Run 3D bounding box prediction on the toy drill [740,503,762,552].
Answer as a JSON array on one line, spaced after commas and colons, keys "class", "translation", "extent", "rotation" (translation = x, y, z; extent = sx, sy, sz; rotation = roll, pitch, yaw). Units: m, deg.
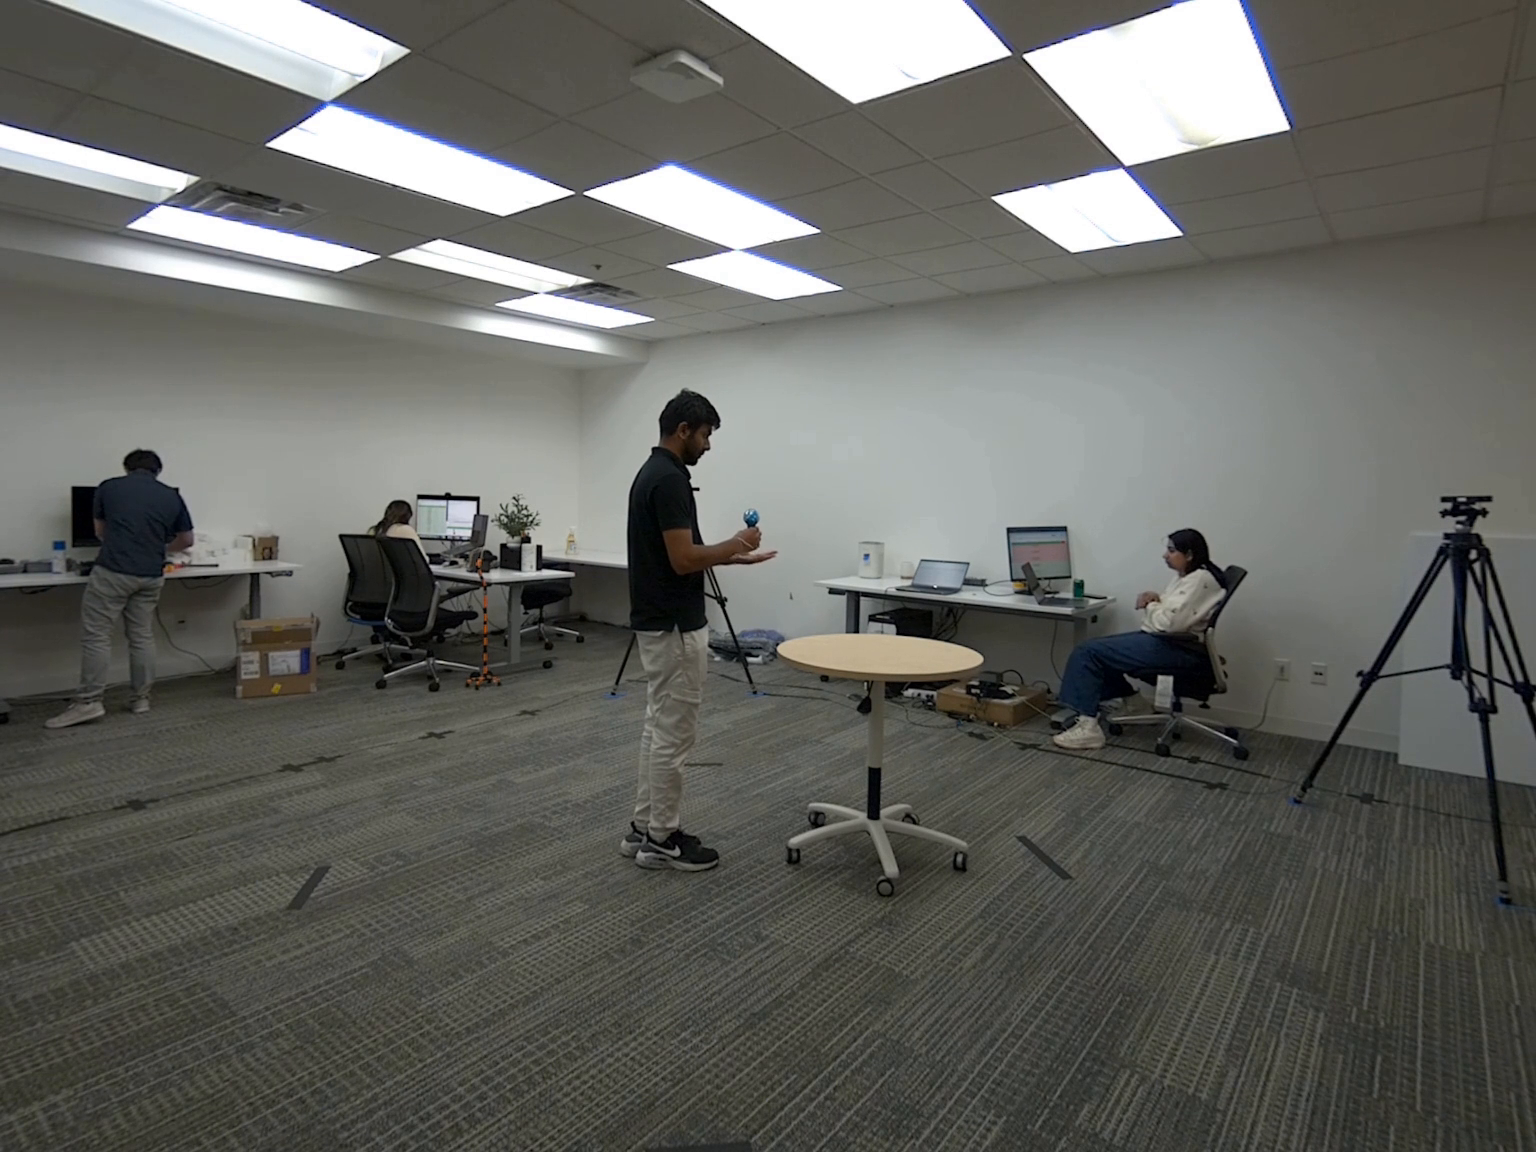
[{"class": "toy drill", "translation": [-0.070, -0.189, 3.246], "extent": [0.061, 0.144, 0.173], "rotation": [4, 16, -5]}]
